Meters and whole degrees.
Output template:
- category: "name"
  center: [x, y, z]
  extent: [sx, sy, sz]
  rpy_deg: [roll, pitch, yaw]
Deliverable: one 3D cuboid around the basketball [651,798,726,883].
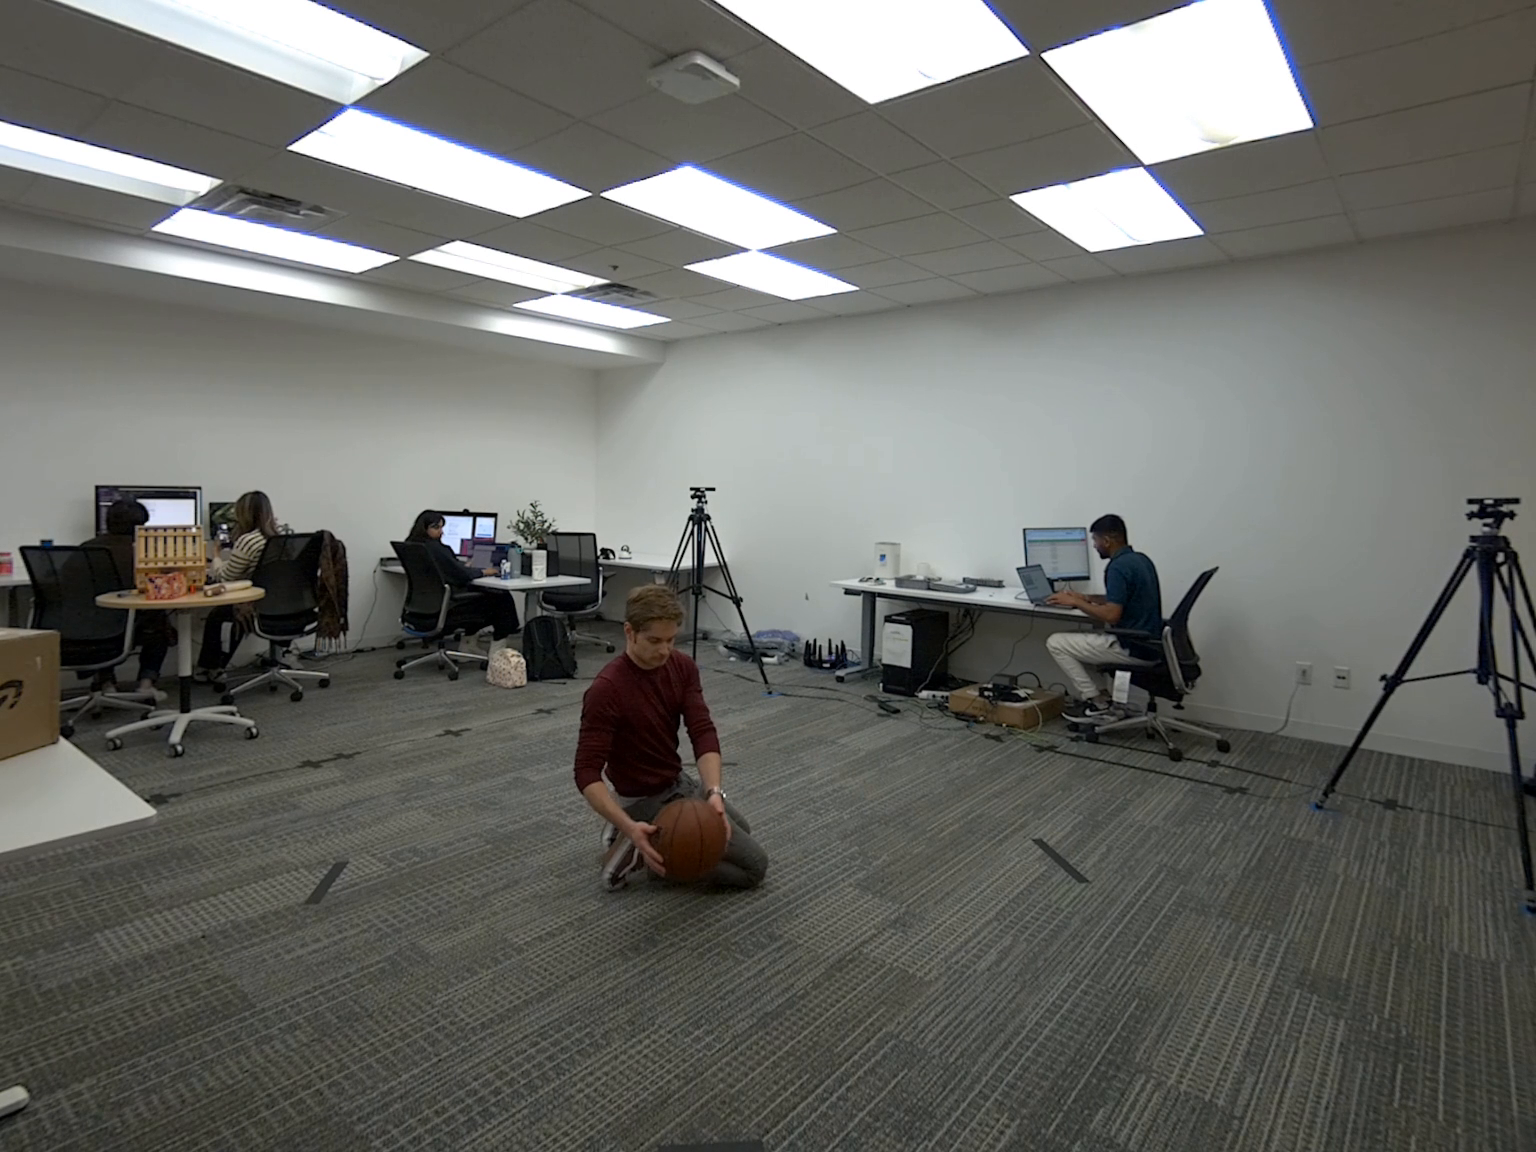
- category: "basketball"
  center: [-0.246, 0.800, 2.617]
  extent: [0.235, 0.235, 0.237]
  rpy_deg: [1, 4, -2]
